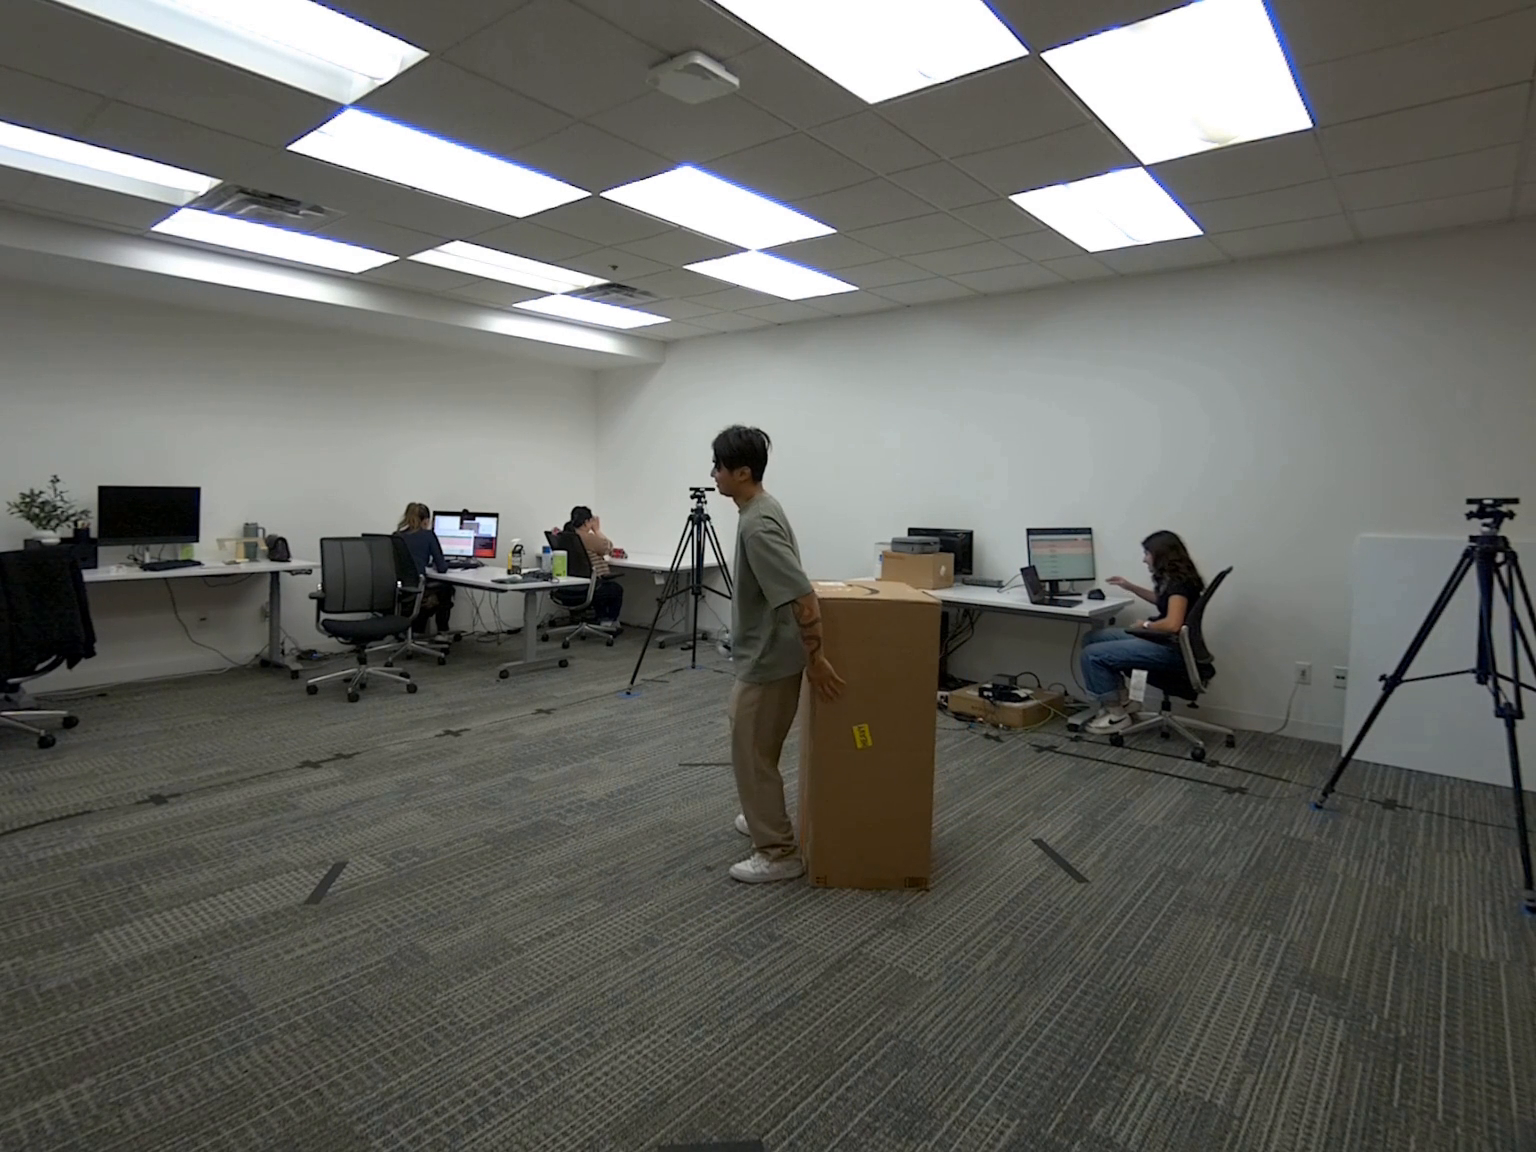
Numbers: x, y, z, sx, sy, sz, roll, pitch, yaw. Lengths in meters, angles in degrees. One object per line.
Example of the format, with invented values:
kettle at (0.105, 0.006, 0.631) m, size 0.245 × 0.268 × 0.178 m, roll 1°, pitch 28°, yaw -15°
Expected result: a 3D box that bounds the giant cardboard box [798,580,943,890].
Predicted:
giant cardboard box at (0.356, 0.556, 3.233) m, size 0.426 × 1.022 × 0.581 m, roll 1°, pitch 4°, yaw -2°
